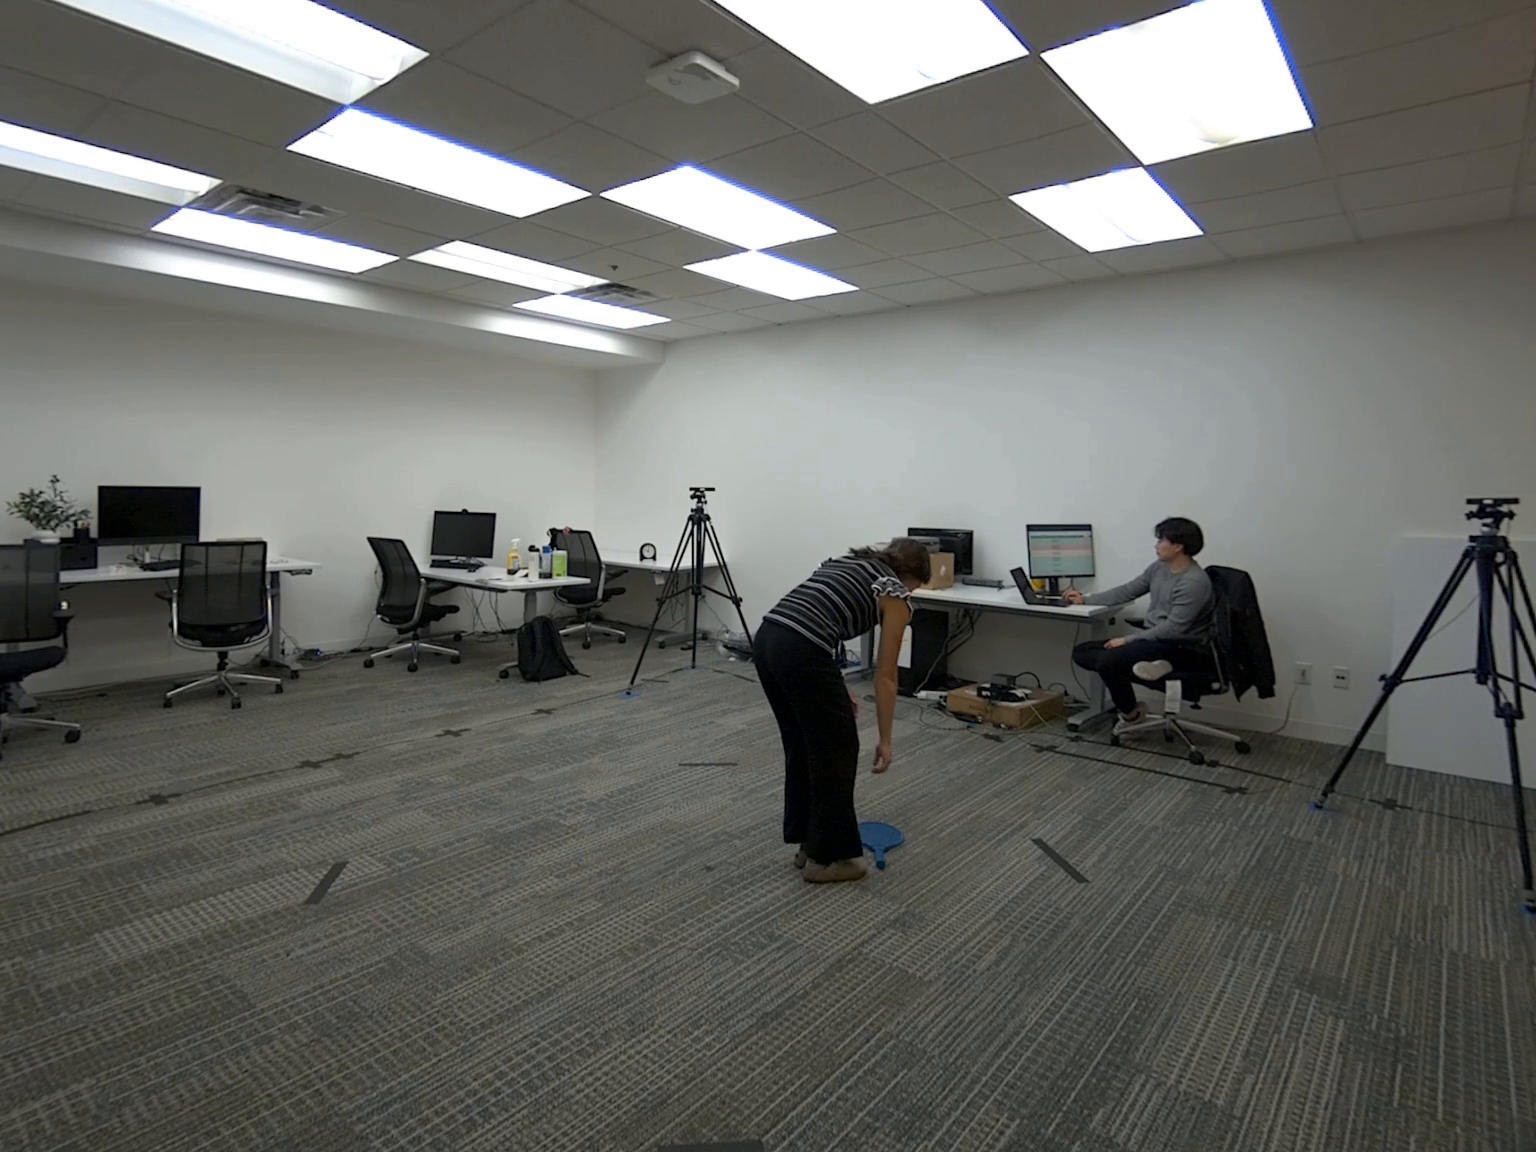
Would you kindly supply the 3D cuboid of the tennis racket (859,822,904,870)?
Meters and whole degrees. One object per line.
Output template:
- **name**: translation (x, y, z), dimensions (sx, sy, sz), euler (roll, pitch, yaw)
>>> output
- **tennis racket**: translation (0.417, 1.041, 3.348), dimensions (0.215, 0.031, 0.432), euler (1, 5, 3)
